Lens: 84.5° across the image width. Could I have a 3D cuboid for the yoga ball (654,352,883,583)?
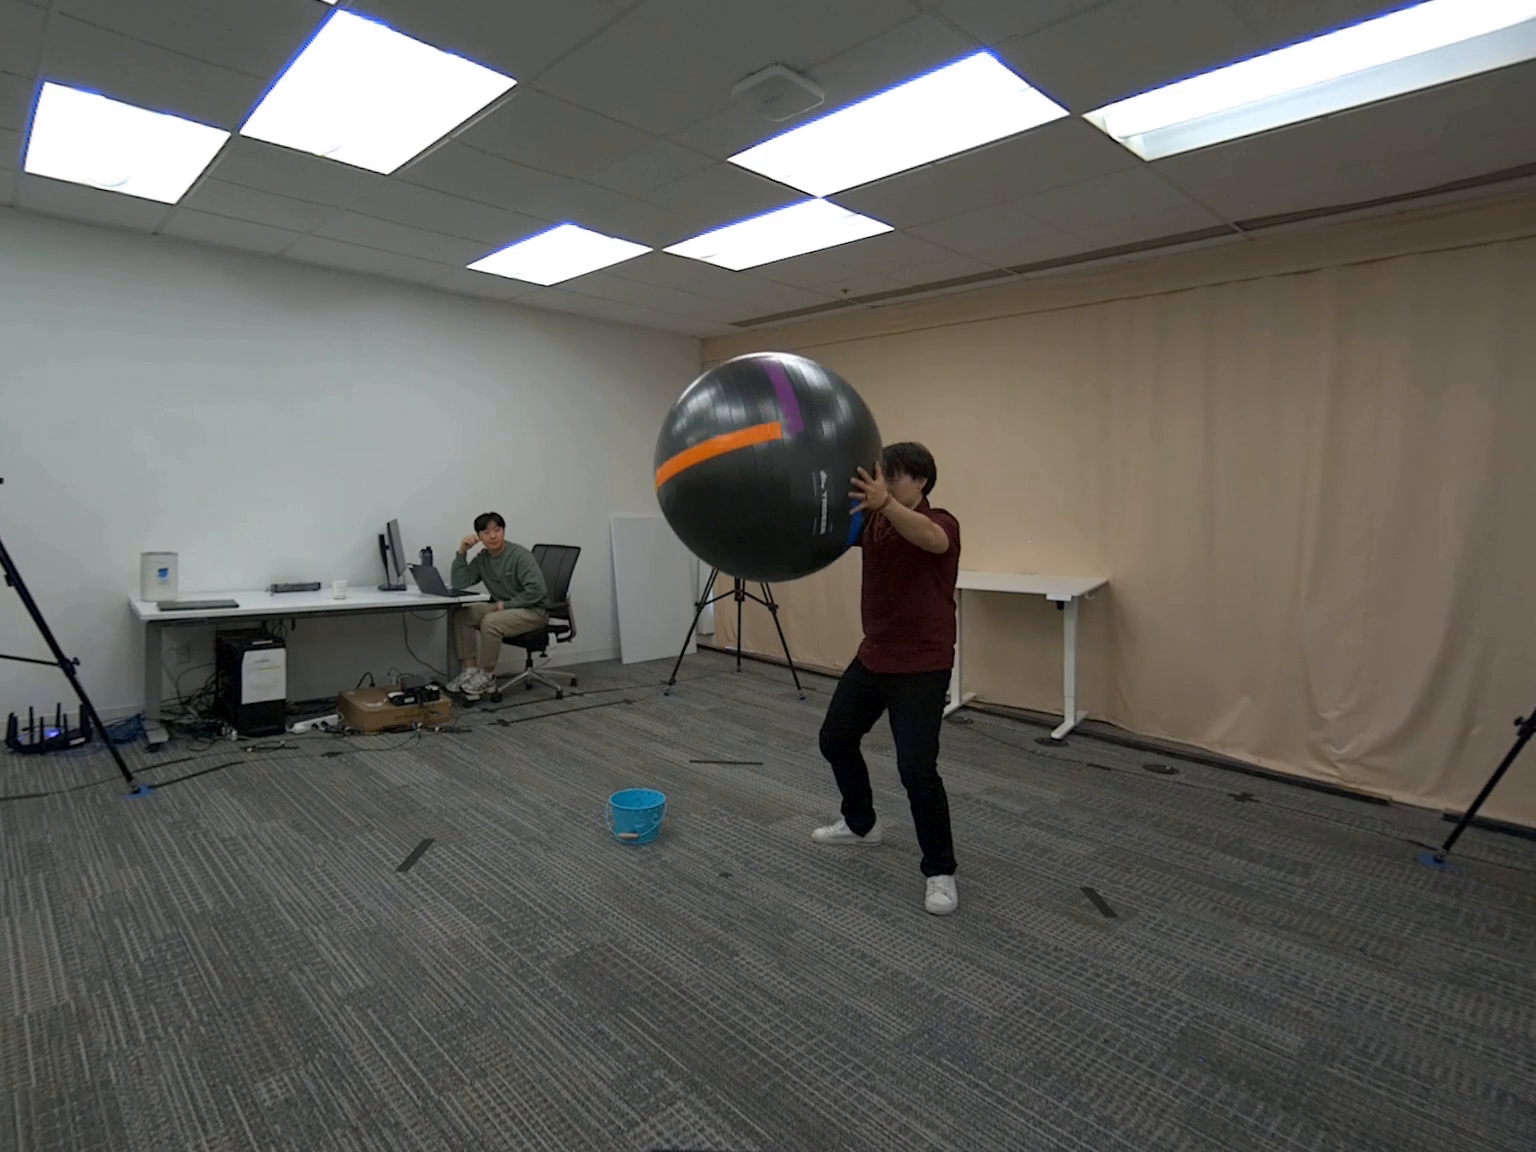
[{"bbox_3d":[-0.001,-0.347,2.801,0.757,0.756,0.761,1,4,-1],"label":"yoga ball"}]
